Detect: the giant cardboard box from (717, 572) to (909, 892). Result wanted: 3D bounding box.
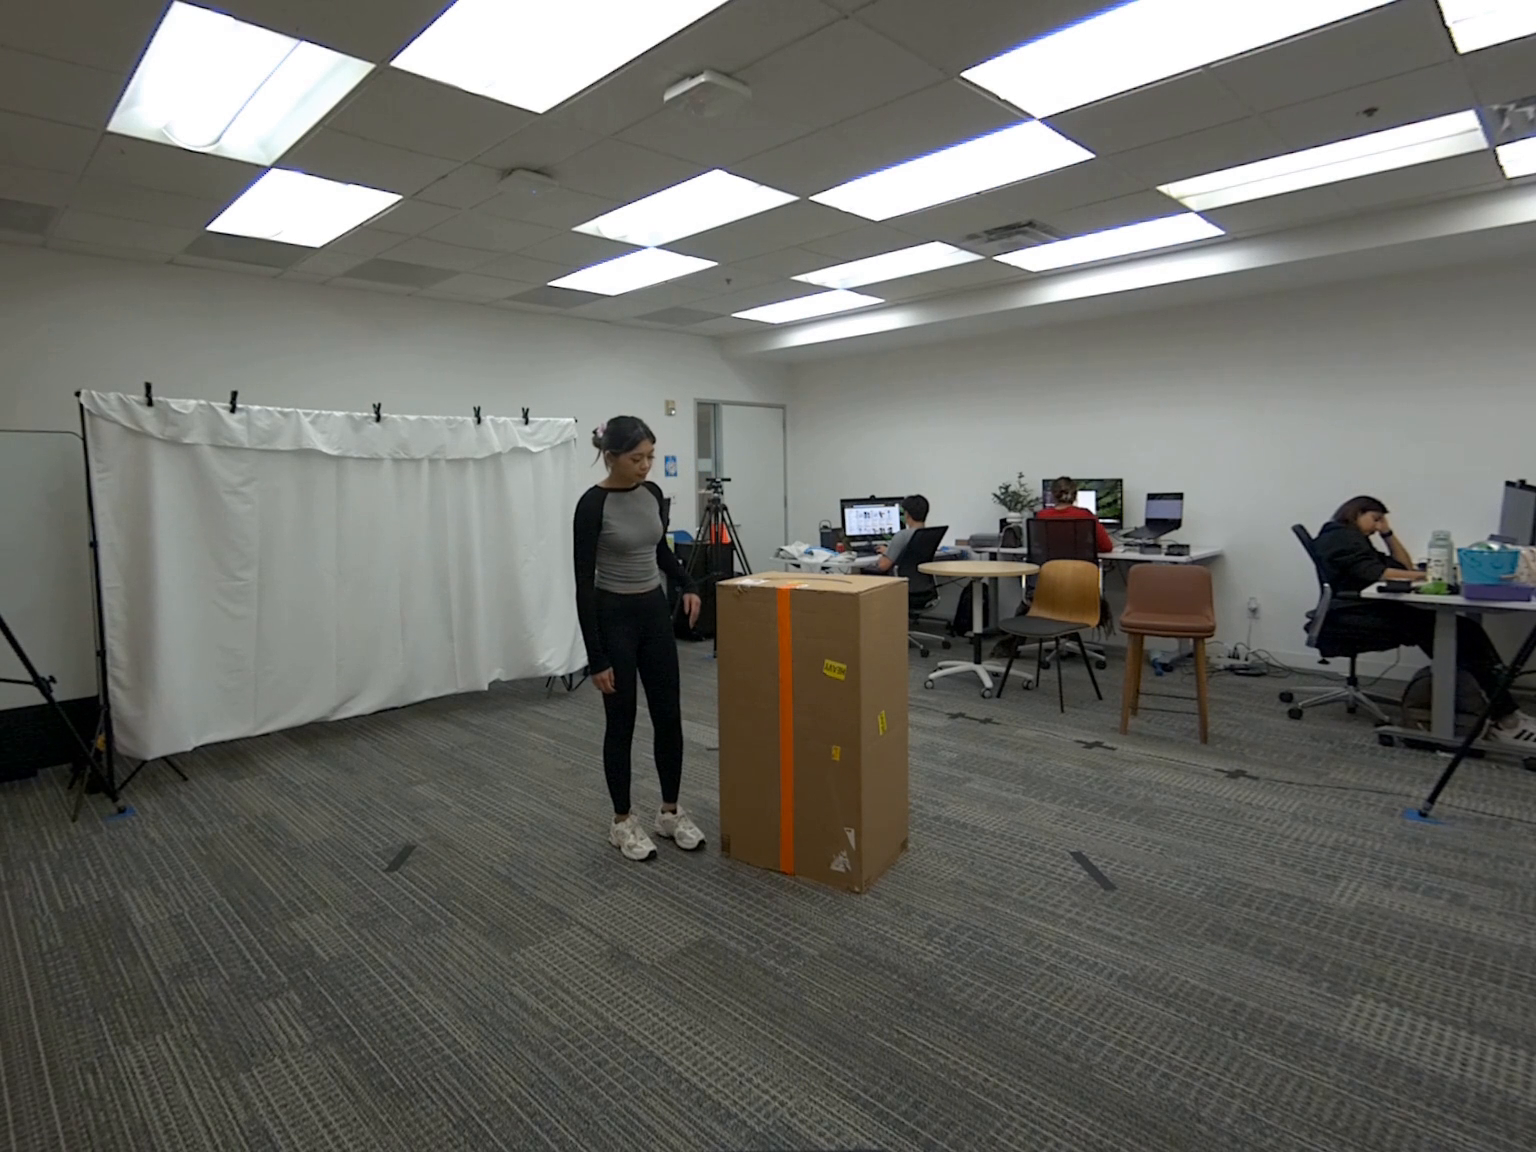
[{"bbox_3d":[0.172,0.524,3.149,0.593,1.022,0.416,2,5,33],"label":"giant cardboard box"}]
